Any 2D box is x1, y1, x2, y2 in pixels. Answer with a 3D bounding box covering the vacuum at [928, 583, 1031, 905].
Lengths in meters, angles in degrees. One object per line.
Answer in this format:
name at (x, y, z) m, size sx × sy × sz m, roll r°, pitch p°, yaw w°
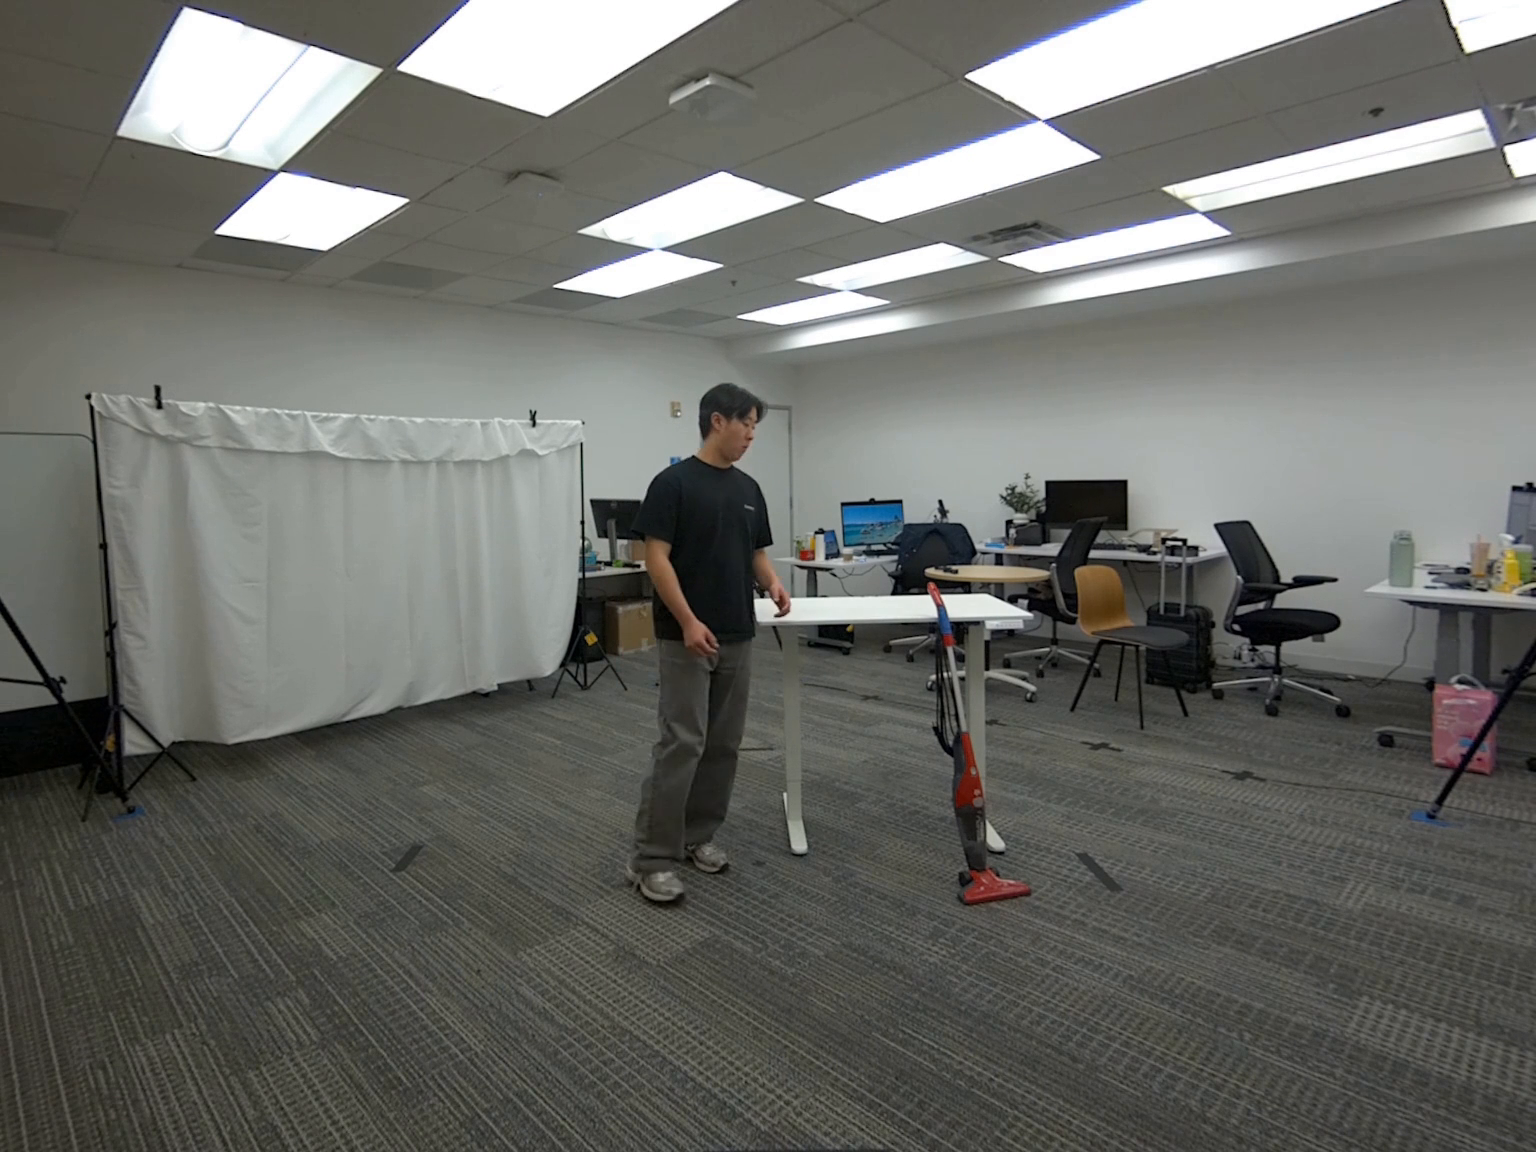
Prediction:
vacuum at (0.670, 0.547, 3.009) m, size 0.248 × 1.065 × 0.144 m, roll -2°, pitch -16°, yaw -20°
